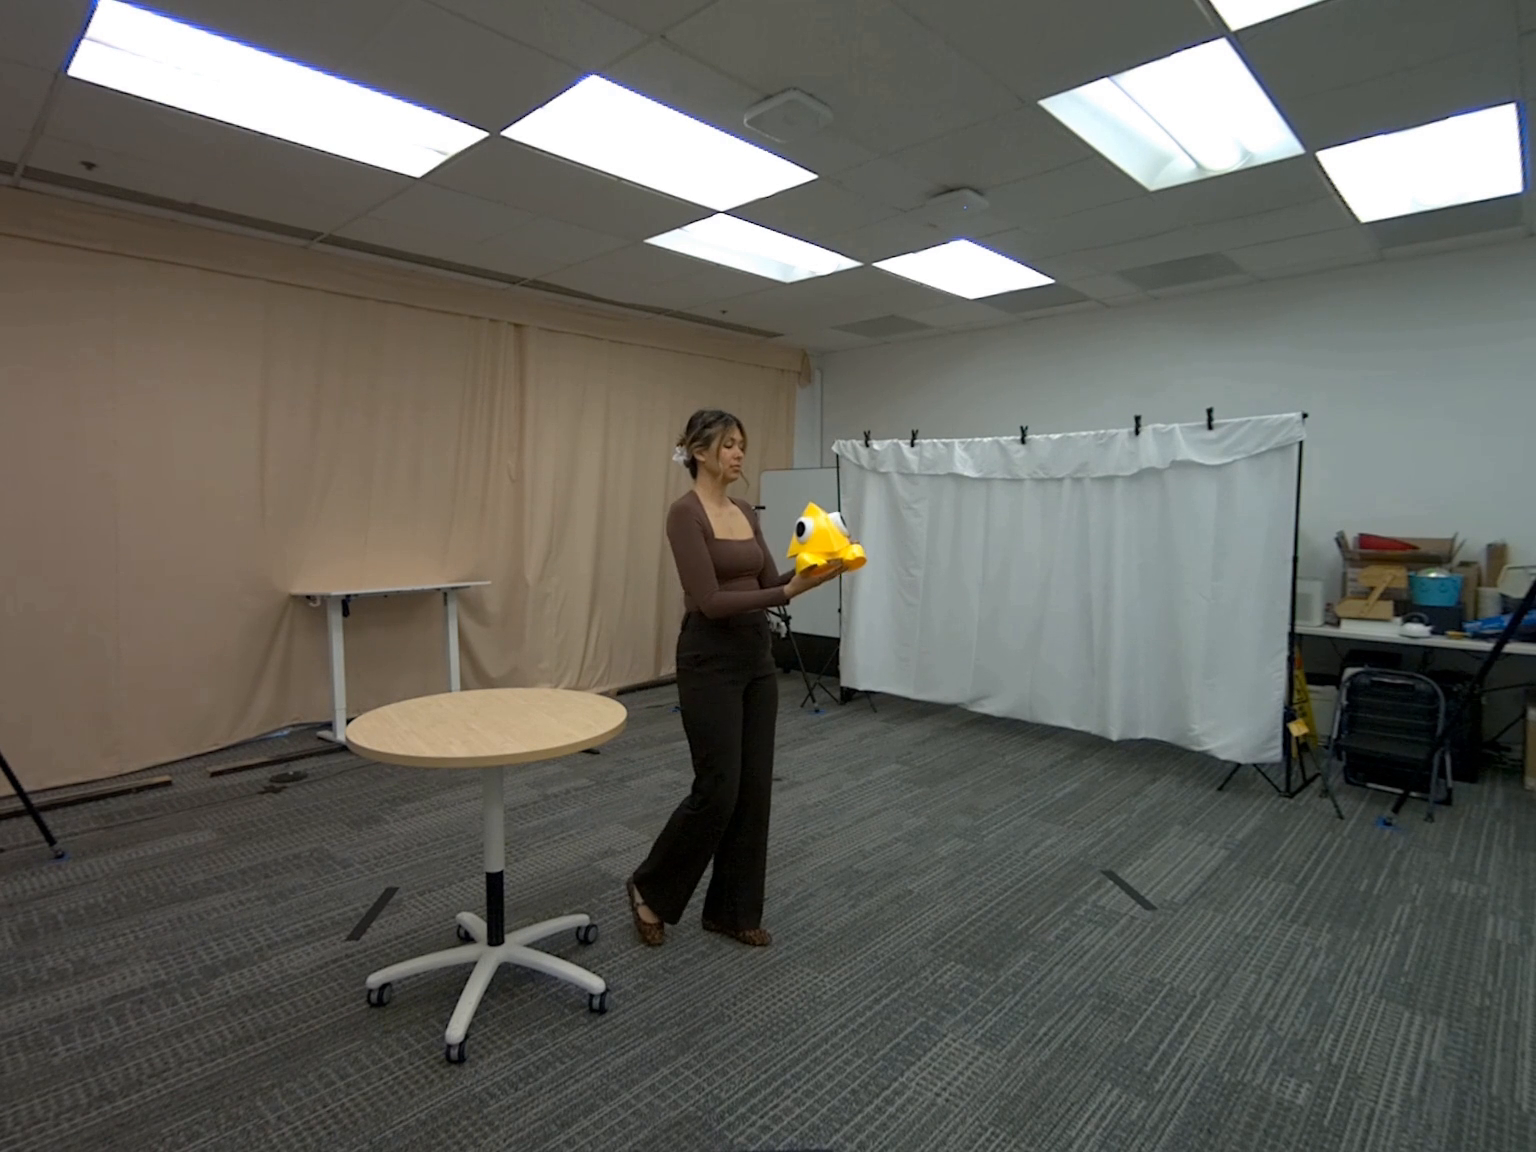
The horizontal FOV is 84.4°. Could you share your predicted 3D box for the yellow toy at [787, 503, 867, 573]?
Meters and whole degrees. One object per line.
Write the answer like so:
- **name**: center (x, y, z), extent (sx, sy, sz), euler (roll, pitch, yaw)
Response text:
- **yellow toy**: center (0.162, -0.124, 2.437), extent (0.203, 0.233, 0.192), euler (-8, -14, -8)
